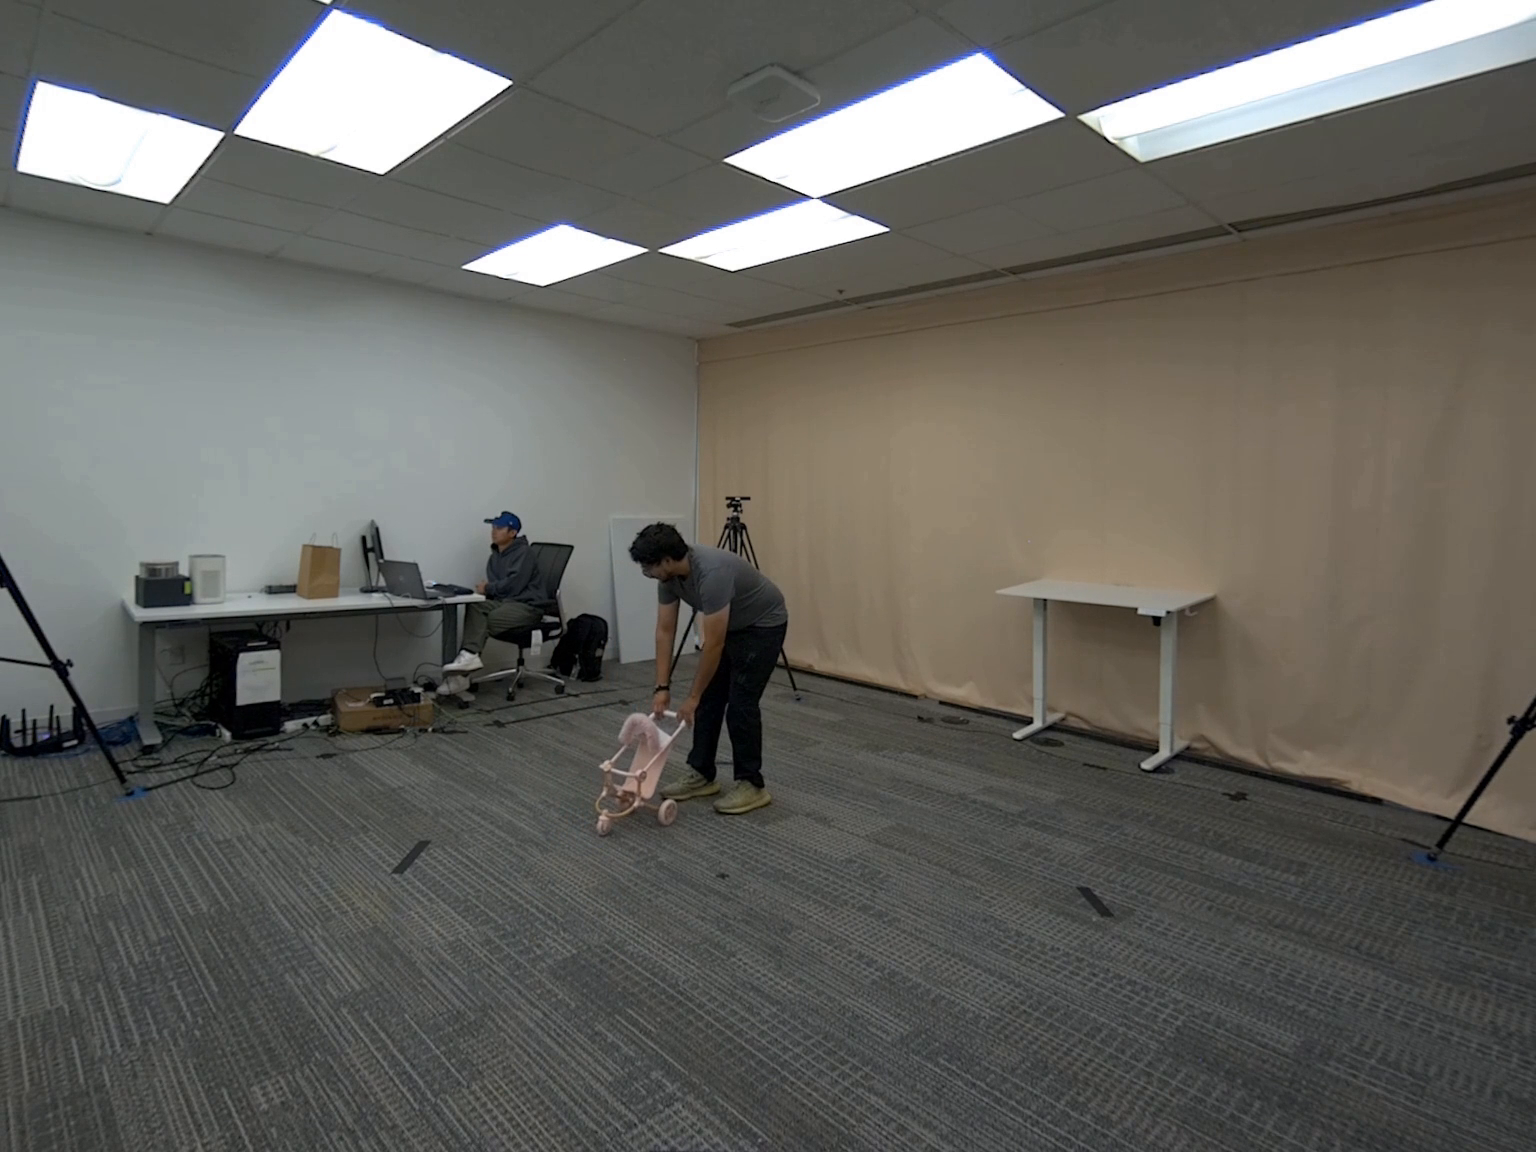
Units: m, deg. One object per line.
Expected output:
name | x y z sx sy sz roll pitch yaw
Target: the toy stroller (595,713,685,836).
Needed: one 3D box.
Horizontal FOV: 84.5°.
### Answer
toy stroller | -0.571 0.831 3.590 0.288 0.537 0.331 4 -11 40
